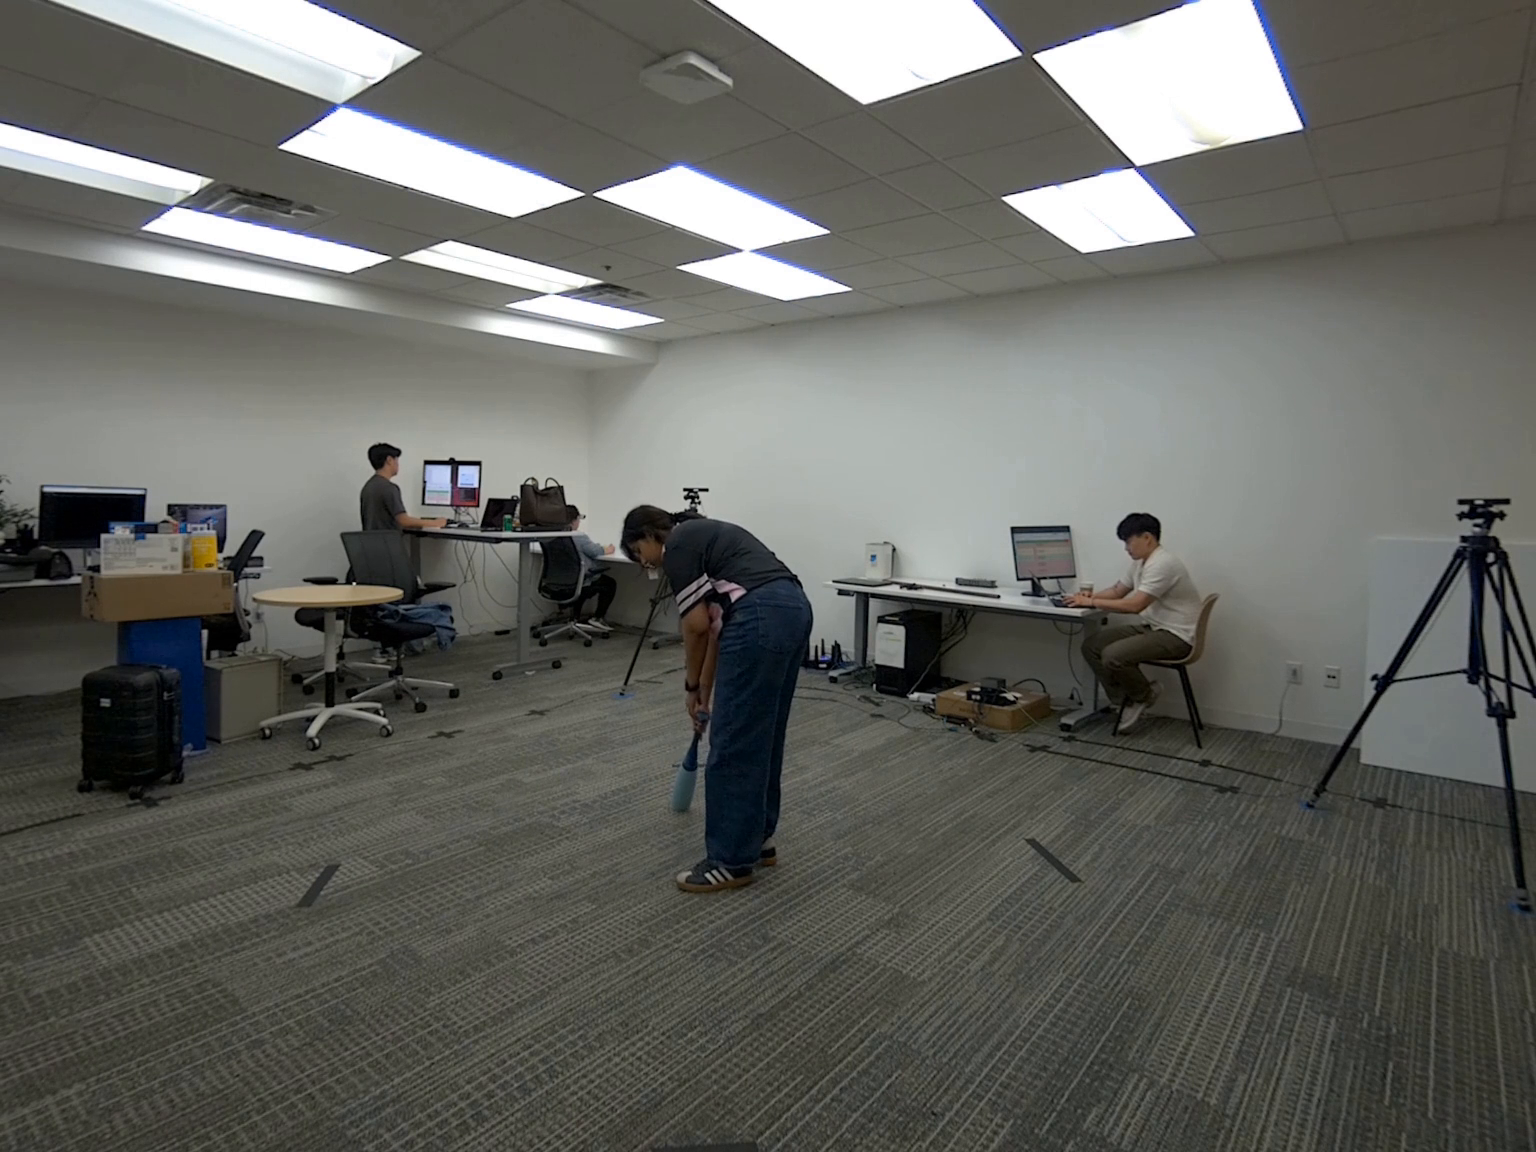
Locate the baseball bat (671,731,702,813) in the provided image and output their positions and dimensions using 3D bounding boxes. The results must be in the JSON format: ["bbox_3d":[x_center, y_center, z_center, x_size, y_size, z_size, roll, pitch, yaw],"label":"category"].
[{"bbox_3d":[-0.344,0.780,3.552,0.088,0.532,0.091,9,34,-8],"label":"baseball bat"}]
